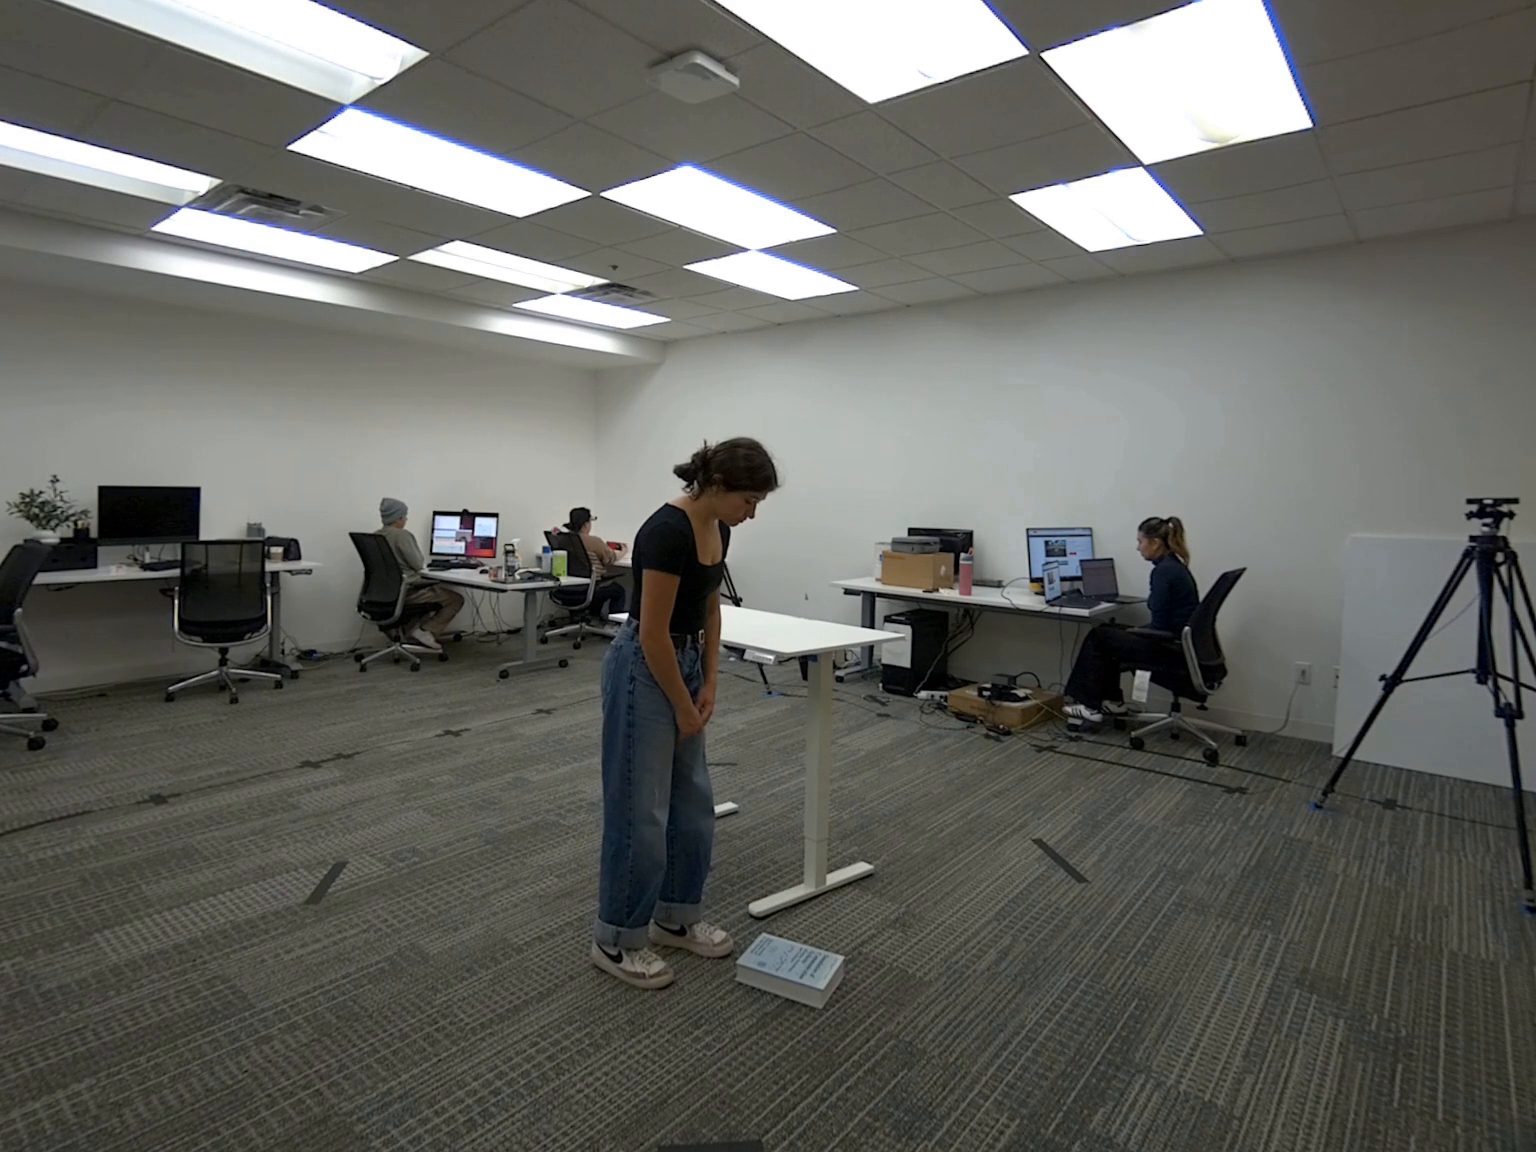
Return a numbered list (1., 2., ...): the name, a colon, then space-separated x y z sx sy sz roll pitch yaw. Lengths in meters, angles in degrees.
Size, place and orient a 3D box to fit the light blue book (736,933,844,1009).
1. light blue book: 0.059 1.113 2.409 0.268 0.059 0.187 4 7 26
